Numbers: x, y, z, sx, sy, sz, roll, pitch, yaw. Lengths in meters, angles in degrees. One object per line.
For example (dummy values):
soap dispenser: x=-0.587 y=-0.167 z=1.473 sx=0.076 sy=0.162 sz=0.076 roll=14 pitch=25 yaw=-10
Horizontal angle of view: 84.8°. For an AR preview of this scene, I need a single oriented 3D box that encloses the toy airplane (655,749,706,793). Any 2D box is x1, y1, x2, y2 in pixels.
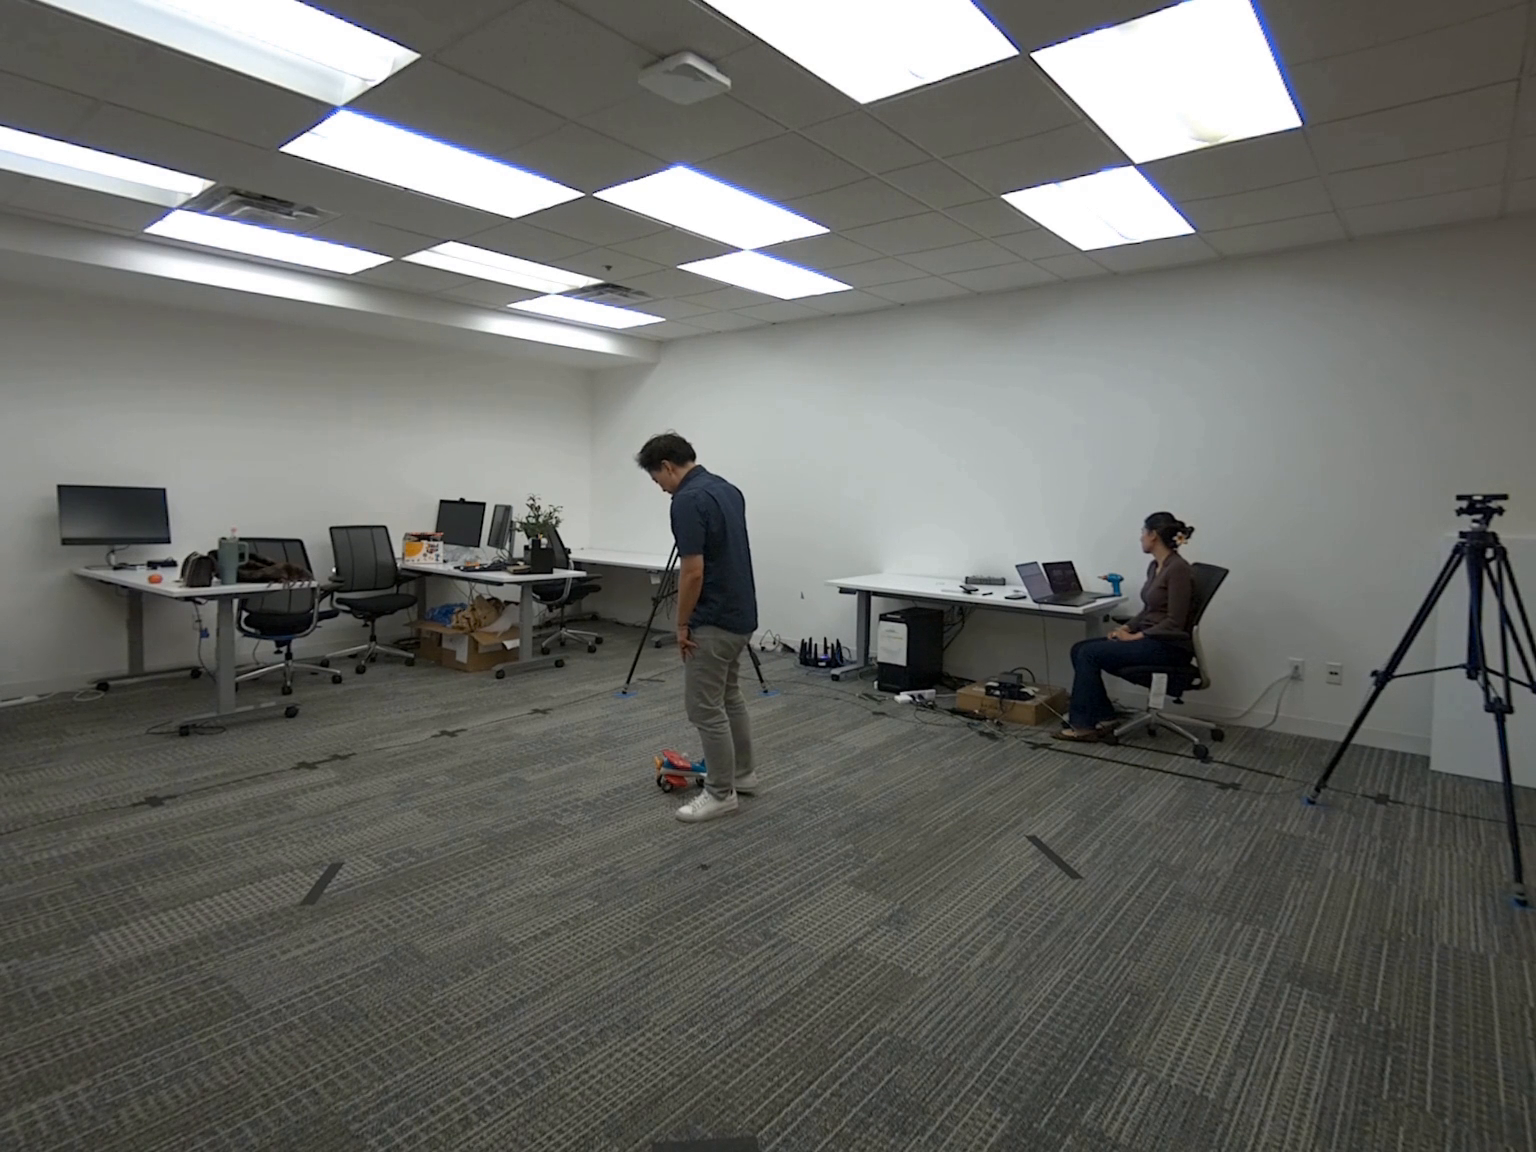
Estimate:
toy airplane: x=-0.422 y=0.907 z=3.976 sx=0.259 sy=0.156 sz=0.252 roll=4 pitch=6 yaw=39
